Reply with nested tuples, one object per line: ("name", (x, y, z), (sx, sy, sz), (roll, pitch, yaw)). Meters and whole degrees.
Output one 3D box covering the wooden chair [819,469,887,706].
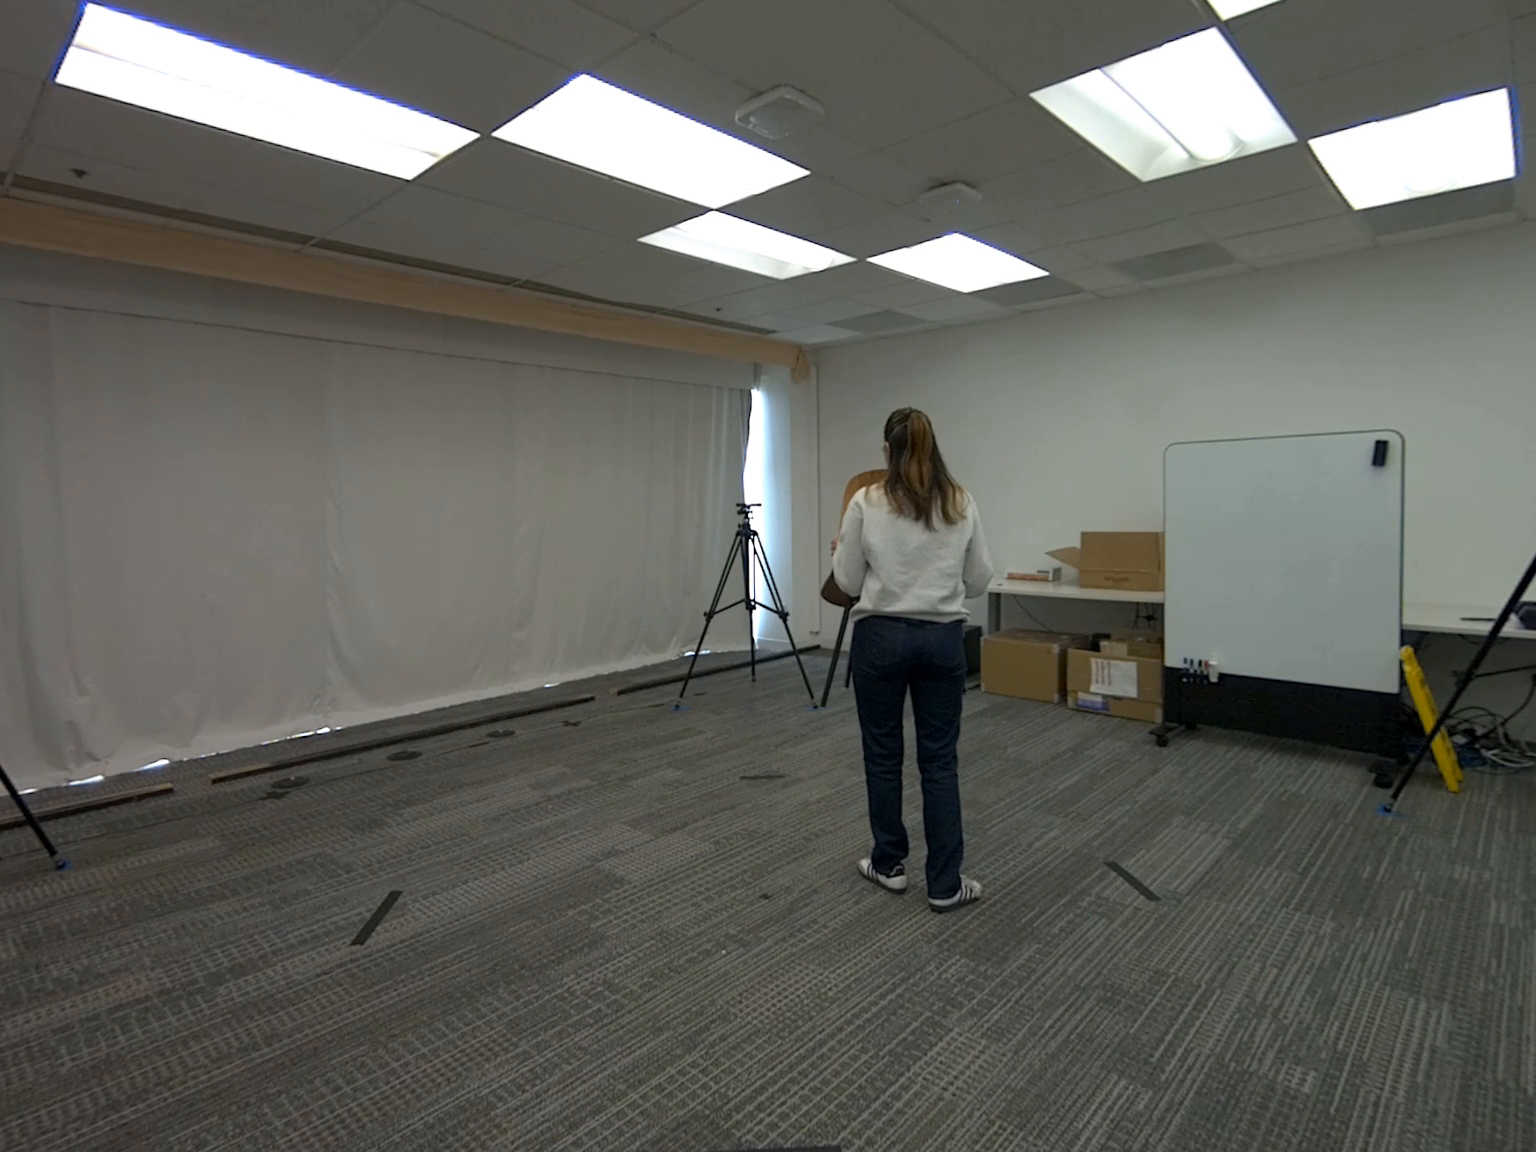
("wooden chair", (0.465, 0.078, 3.354), (0.476, 0.886, 0.521), (2, -16, -6))
